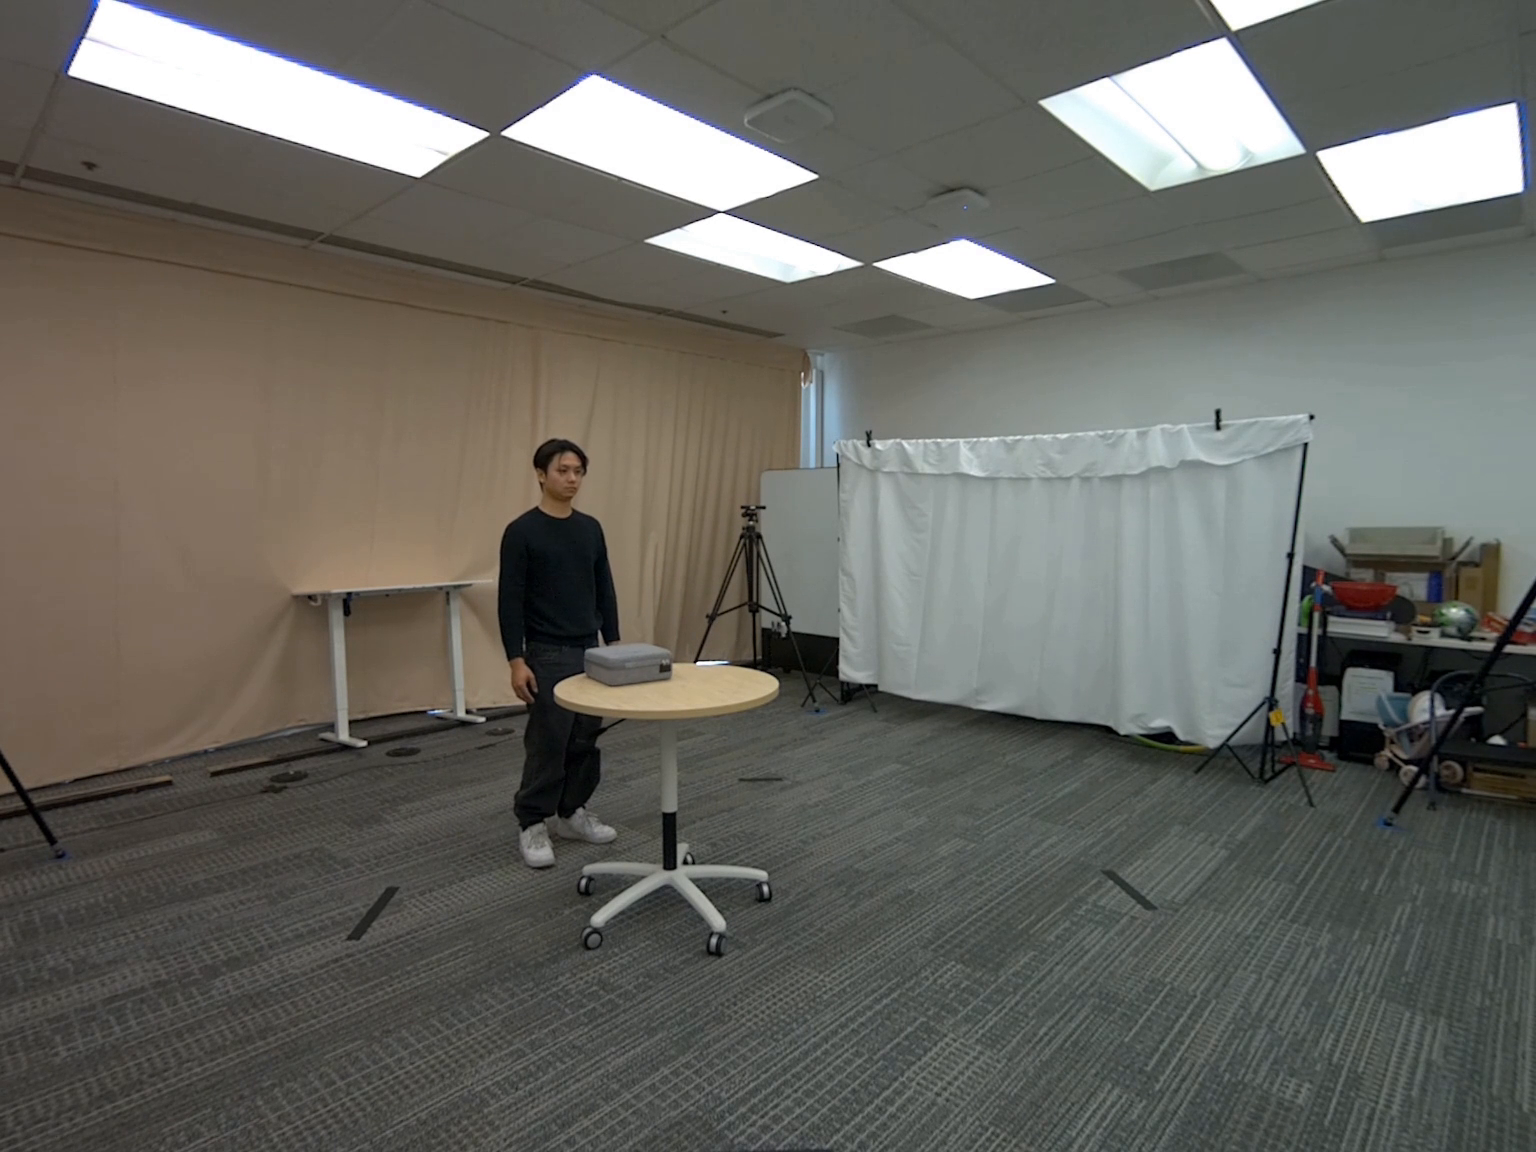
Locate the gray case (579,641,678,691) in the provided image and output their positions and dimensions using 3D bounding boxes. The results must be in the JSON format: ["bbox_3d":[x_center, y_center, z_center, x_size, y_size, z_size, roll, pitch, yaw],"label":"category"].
[{"bbox_3d":[-0.501,0.311,2.994,0.250,0.104,0.268,-6,6,-33],"label":"gray case"}]
